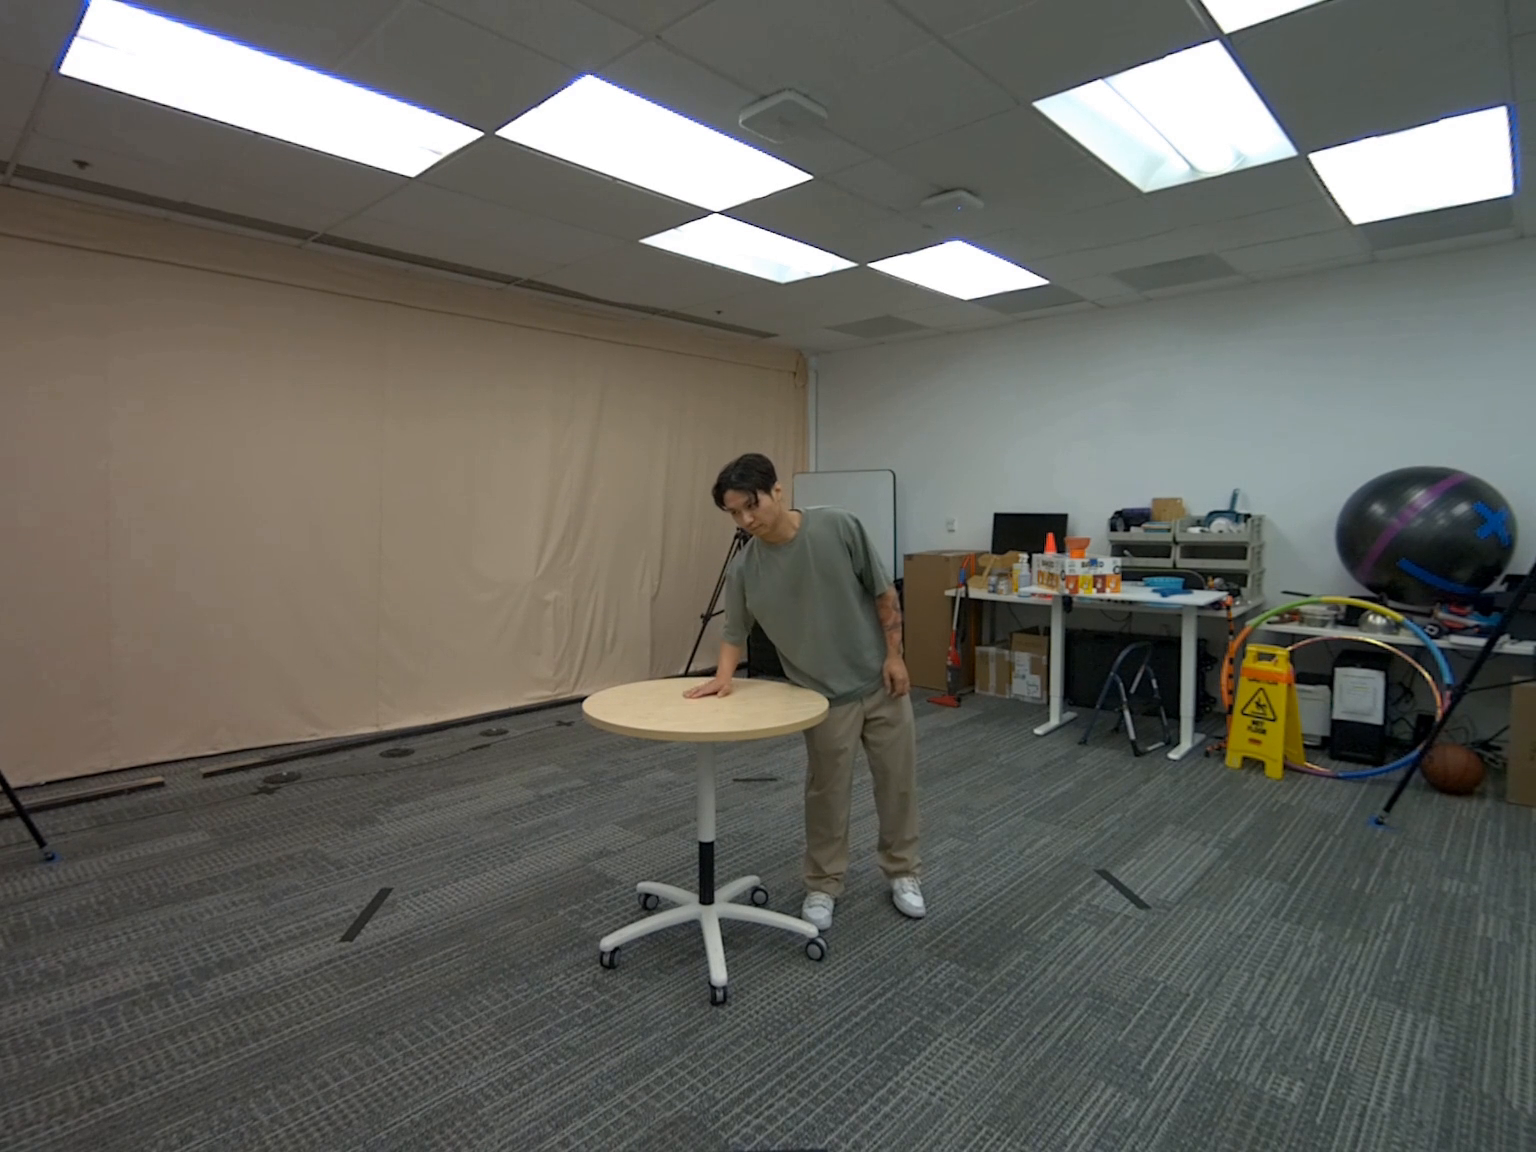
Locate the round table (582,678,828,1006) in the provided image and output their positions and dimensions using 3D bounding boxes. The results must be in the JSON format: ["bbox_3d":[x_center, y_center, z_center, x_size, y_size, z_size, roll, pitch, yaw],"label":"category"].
[{"bbox_3d":[-0.193,0.786,2.645,0.763,0.792,0.766,0,3,-2],"label":"round table"}]
